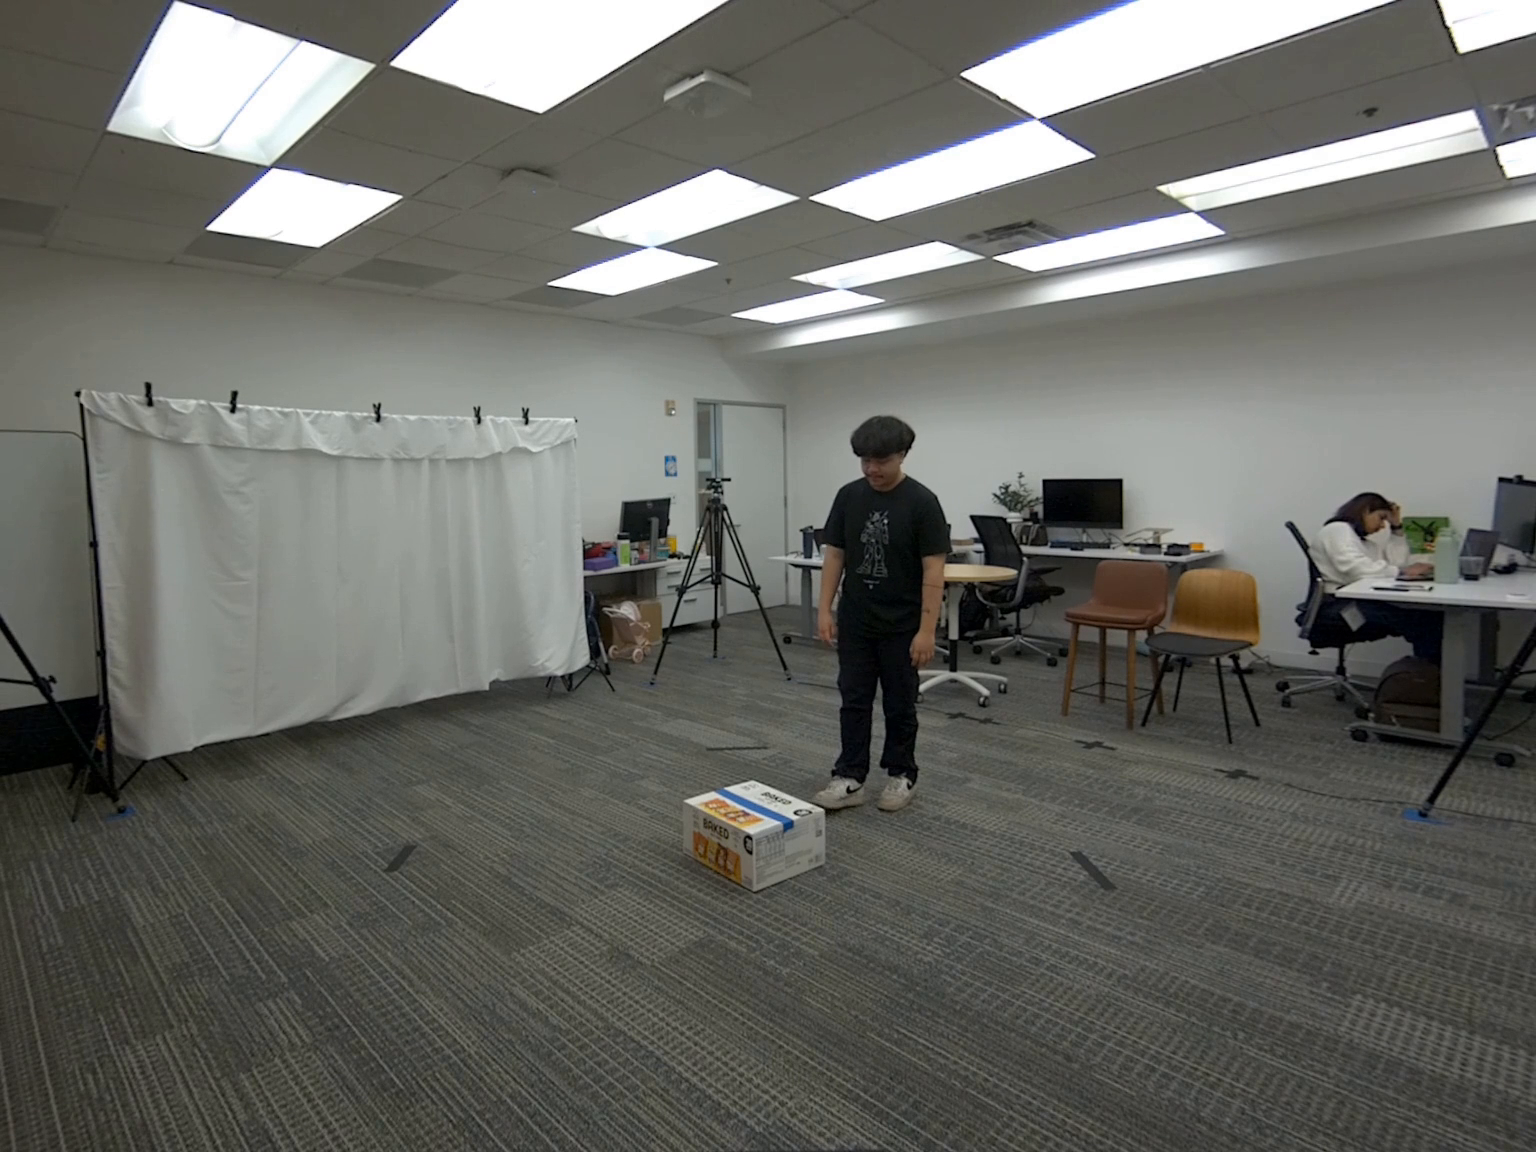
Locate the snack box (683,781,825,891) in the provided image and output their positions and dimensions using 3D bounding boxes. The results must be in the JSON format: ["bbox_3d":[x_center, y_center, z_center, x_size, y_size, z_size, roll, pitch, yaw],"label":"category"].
[{"bbox_3d":[-0.053,0.939,3.124,0.331,0.205,0.417,-6,7,-39],"label":"snack box"}]
